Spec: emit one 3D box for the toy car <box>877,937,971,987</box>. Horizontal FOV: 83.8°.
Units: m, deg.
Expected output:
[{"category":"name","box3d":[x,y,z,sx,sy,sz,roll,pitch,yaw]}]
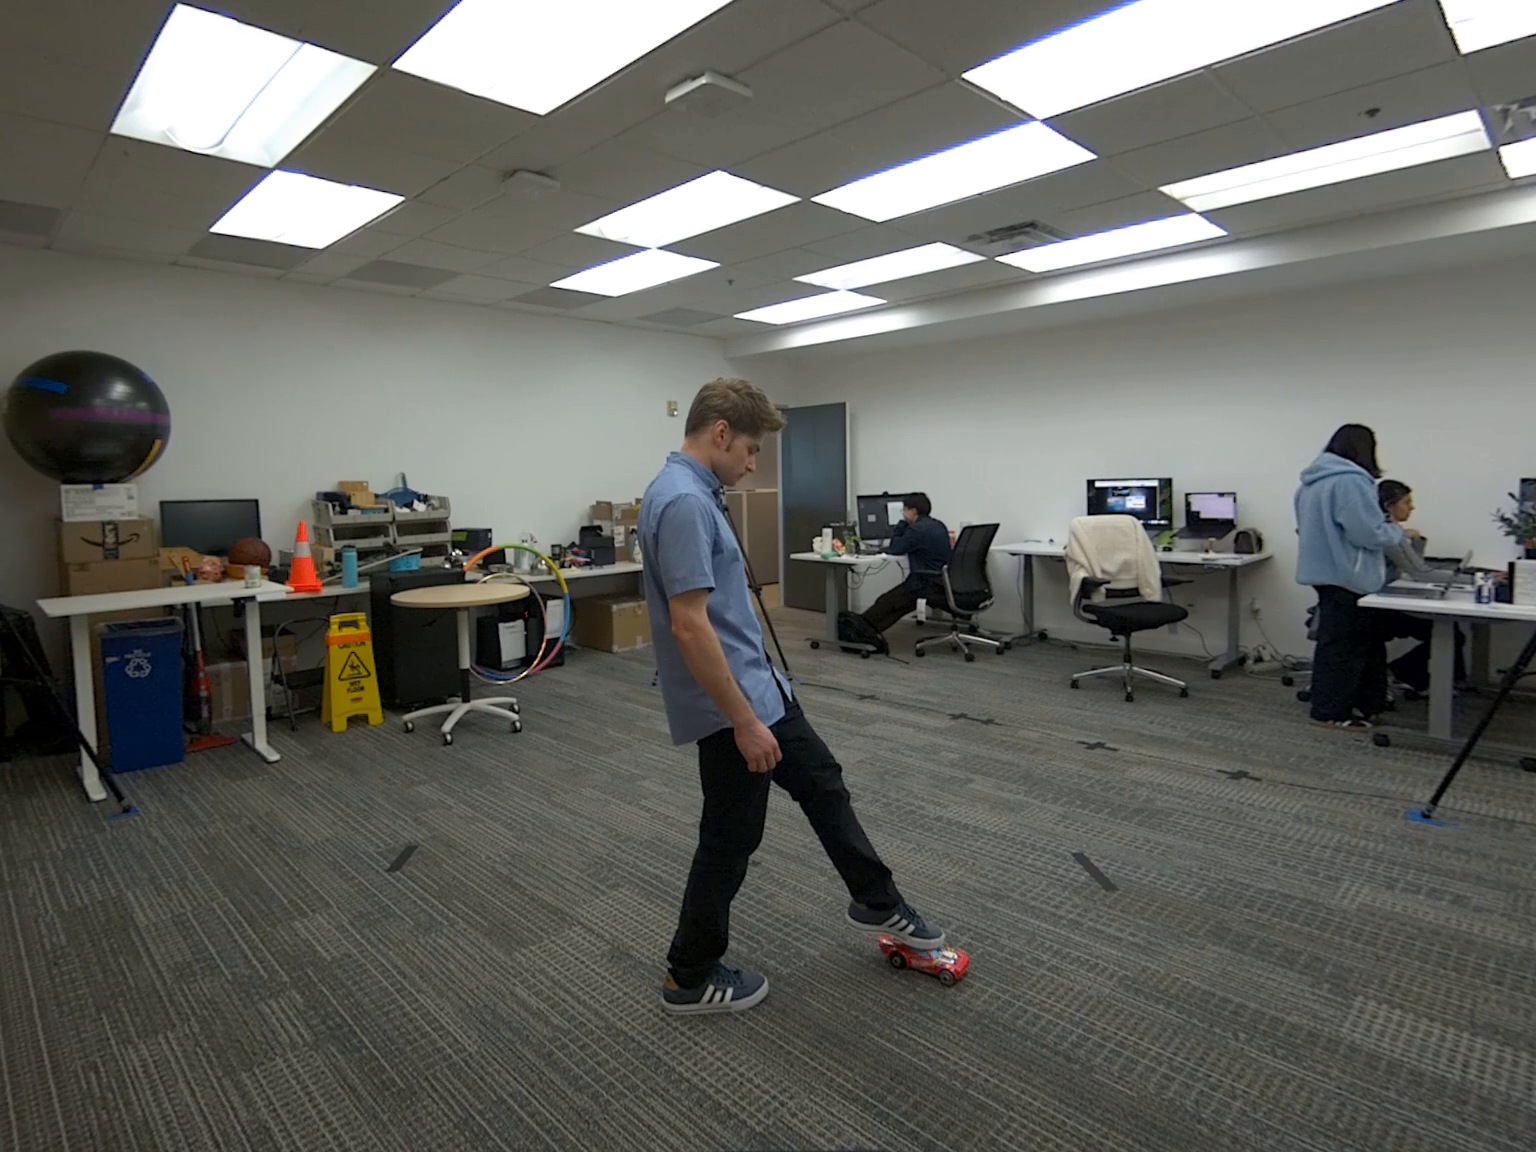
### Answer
[{"category":"toy car","box3d":[0.444,1.087,2.436,0.263,0.082,0.127,15,15,33]}]
